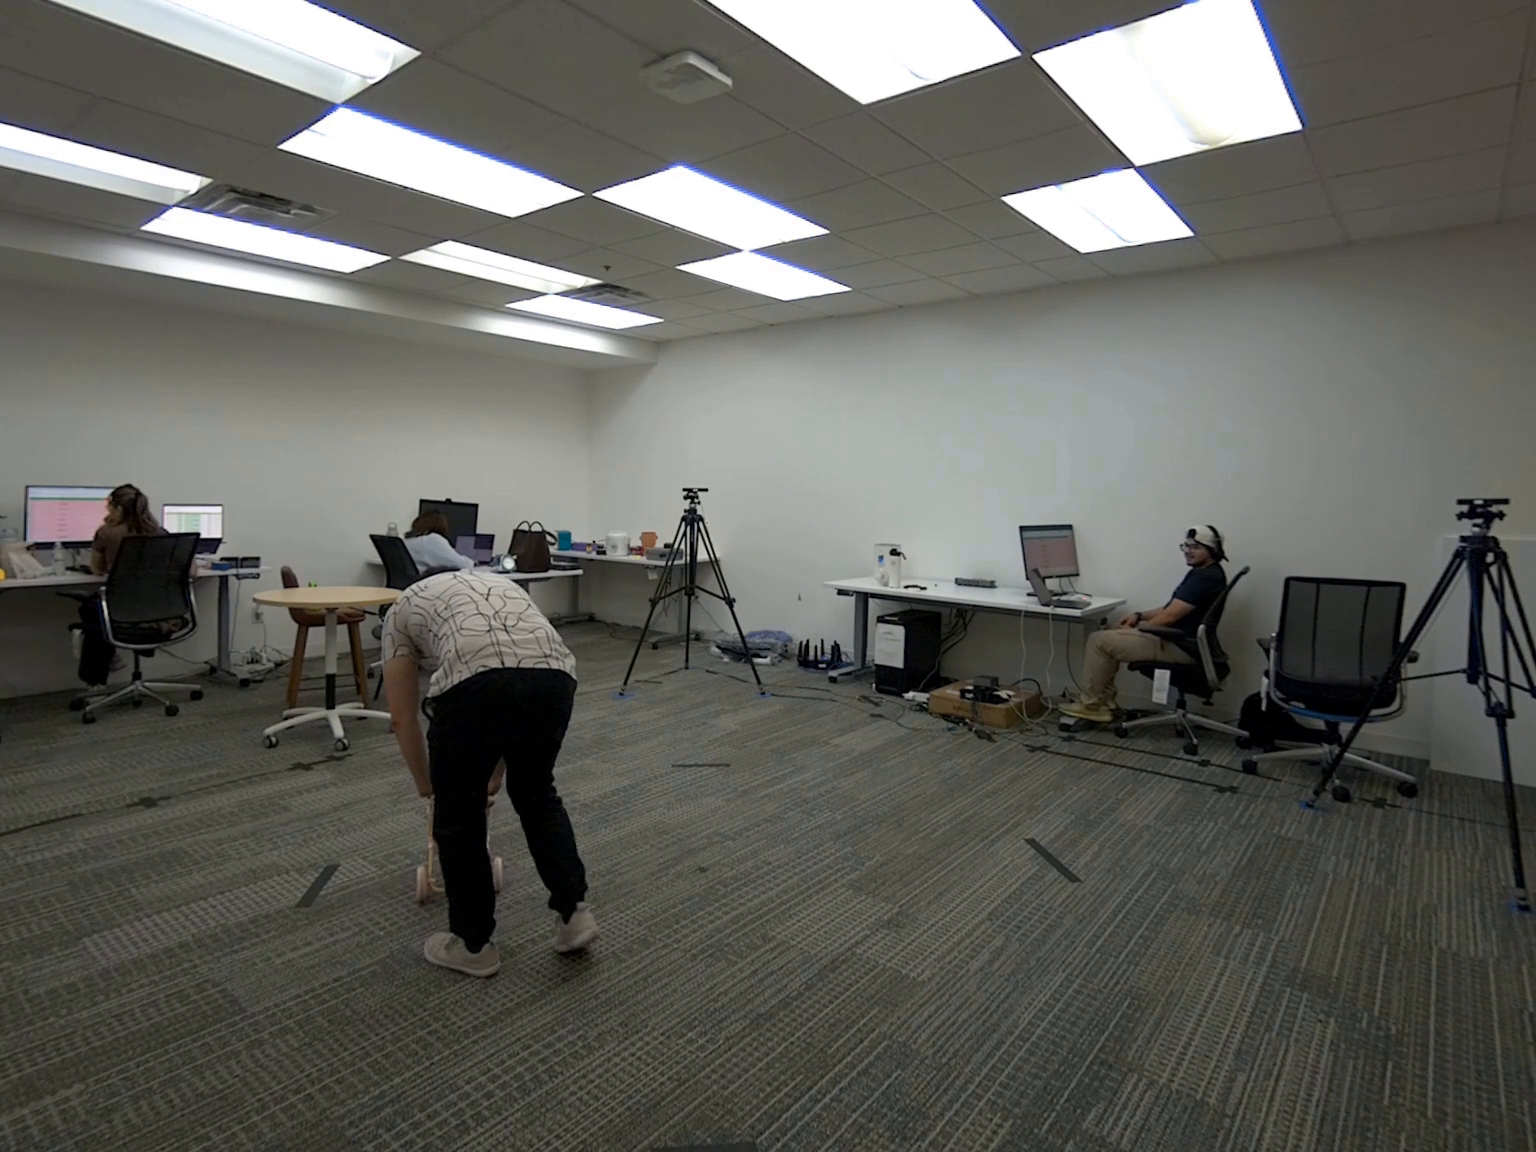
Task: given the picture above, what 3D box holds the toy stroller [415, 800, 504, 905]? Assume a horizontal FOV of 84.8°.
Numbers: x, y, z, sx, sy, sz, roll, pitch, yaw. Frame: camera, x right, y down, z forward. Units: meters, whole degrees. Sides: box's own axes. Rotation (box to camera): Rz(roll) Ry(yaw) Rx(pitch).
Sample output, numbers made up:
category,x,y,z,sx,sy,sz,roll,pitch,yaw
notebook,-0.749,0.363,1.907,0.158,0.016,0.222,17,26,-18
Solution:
category,x,y,z,sx,sy,sz,roll,pitch,yaw
toy stroller,-1.062,0.855,2.925,0.277,0.526,0.353,1,23,-17
